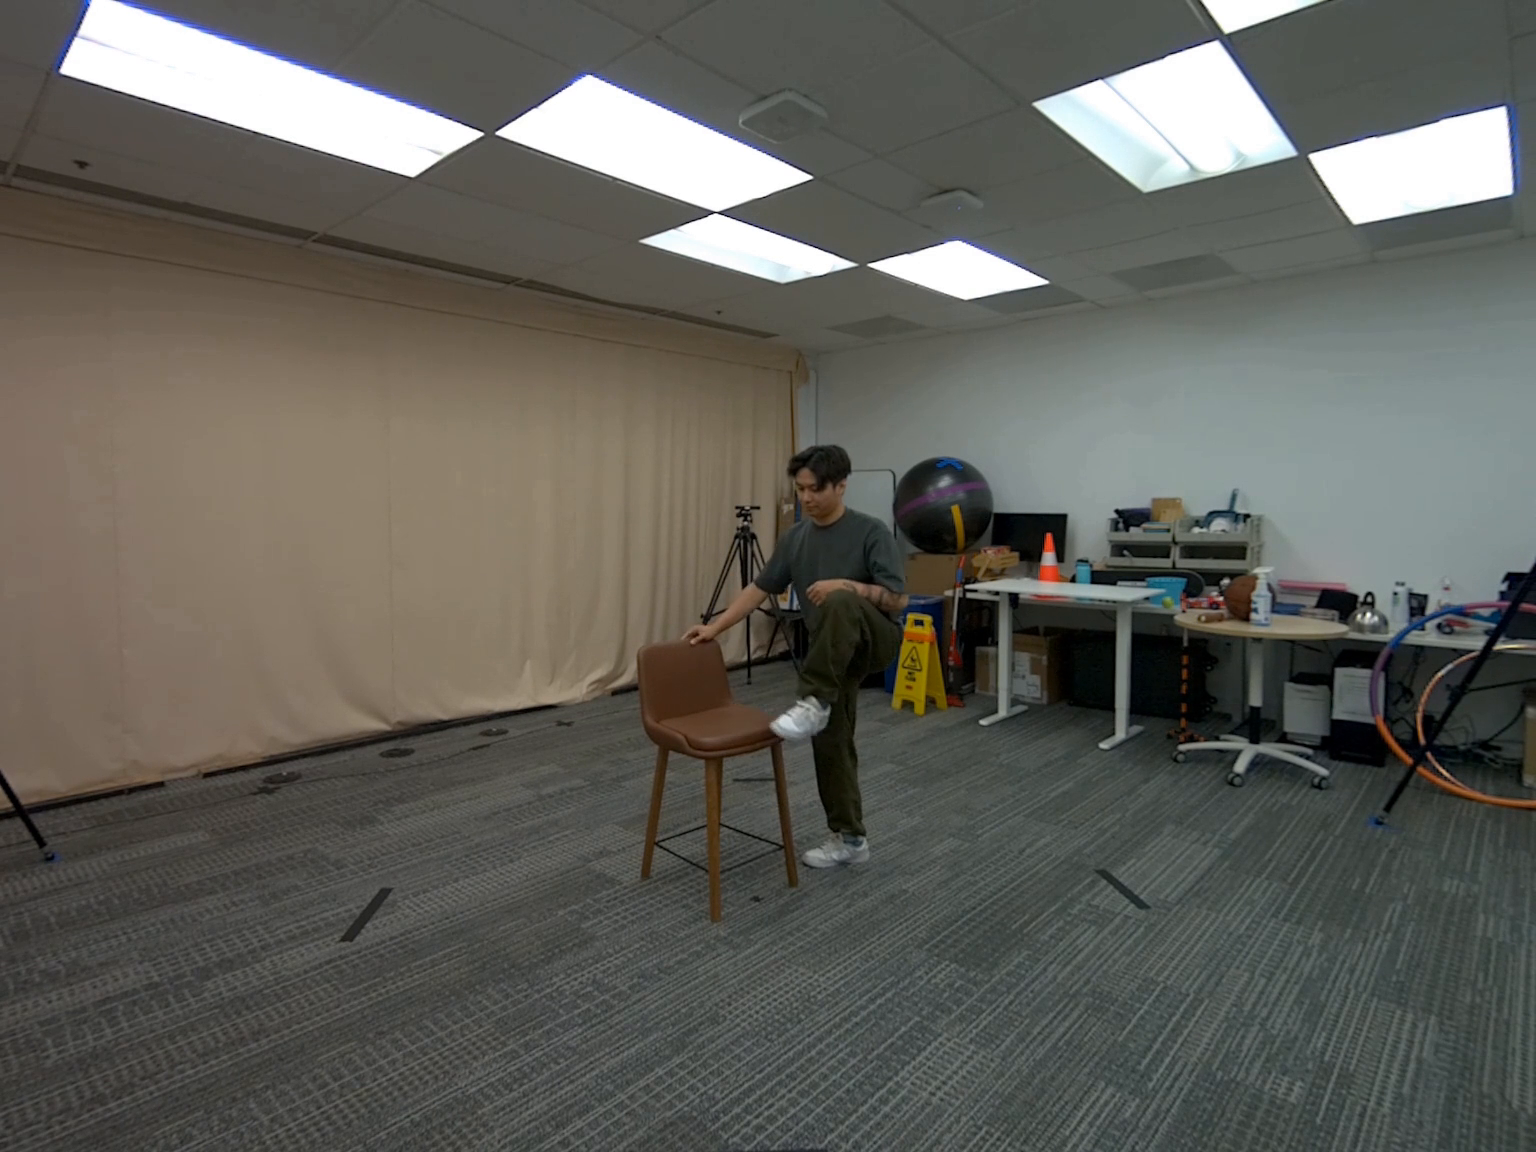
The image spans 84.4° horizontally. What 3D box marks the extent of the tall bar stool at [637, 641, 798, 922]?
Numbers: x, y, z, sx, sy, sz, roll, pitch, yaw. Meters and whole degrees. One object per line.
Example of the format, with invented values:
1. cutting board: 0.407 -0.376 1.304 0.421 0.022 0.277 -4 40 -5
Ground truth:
1. tall bar stool: -0.197 0.698 3.095 0.442 0.889 0.483 -4 2 -43
